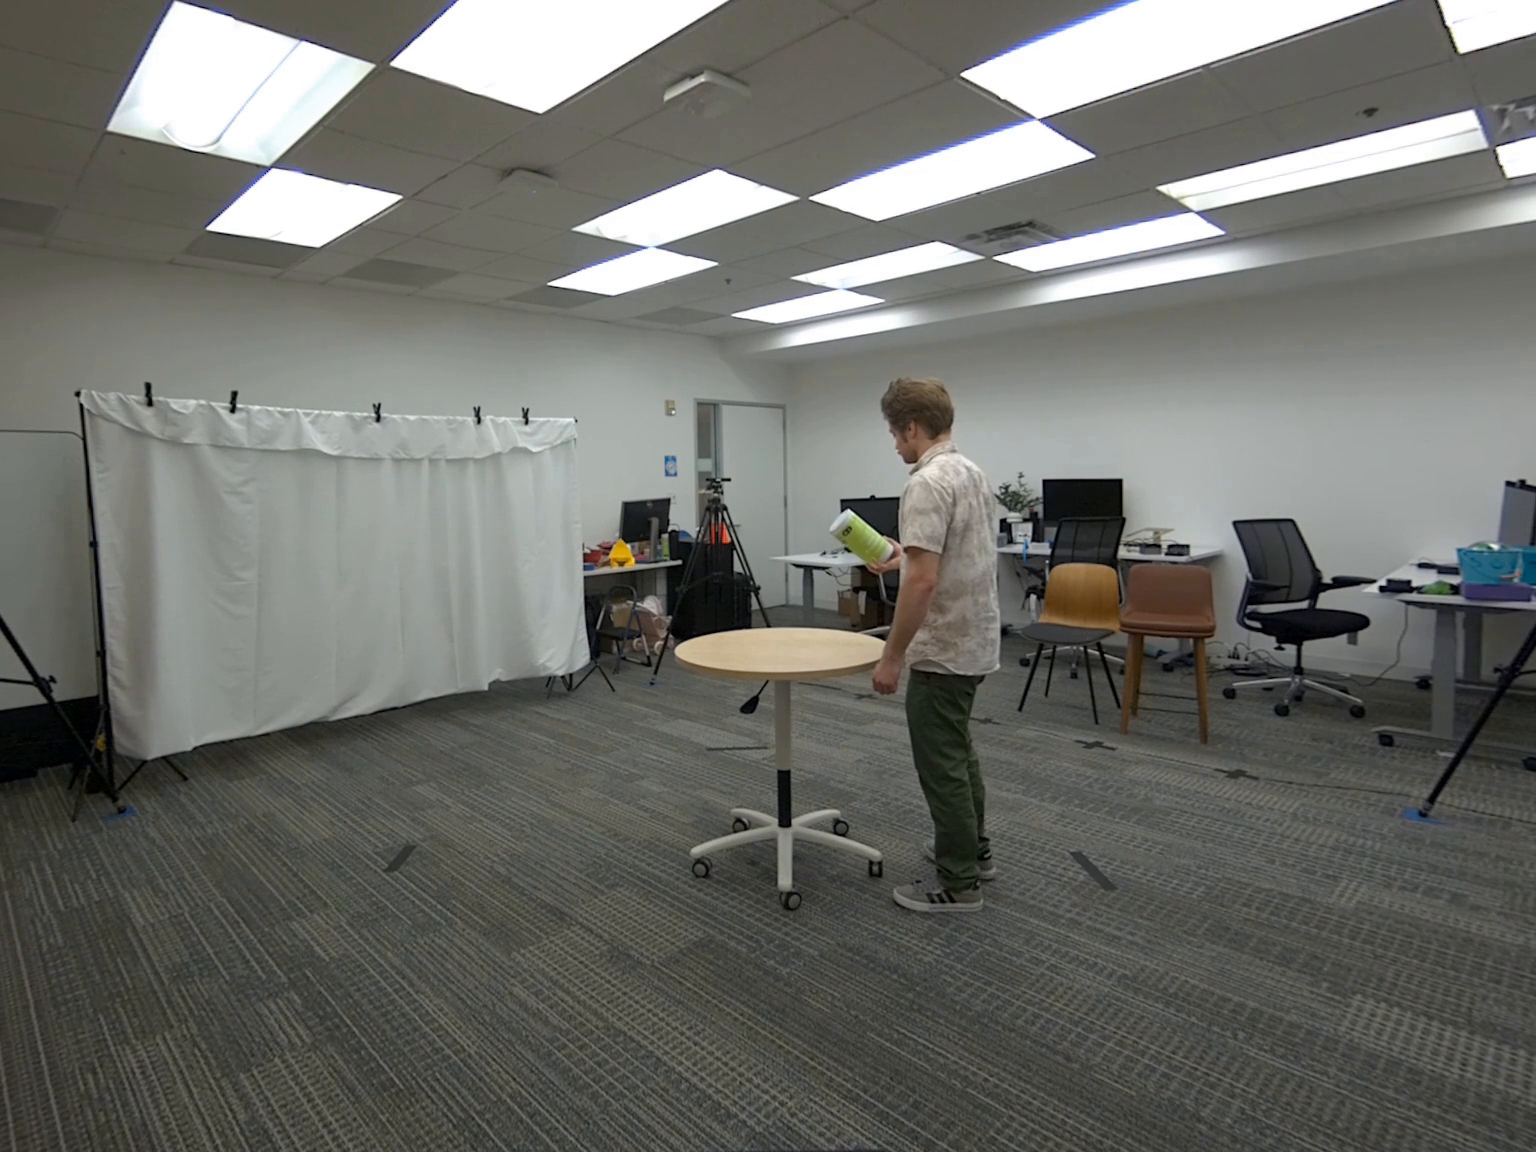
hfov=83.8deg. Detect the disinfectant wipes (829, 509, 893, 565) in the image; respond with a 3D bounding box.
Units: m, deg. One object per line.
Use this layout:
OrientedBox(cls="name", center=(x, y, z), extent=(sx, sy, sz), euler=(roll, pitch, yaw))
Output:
OrientedBox(cls="disinfectant wipes", center=(0.334, -0.131, 3.046), extent=(0.216, 0.118, 0.118), euler=(40, 0, -6))
